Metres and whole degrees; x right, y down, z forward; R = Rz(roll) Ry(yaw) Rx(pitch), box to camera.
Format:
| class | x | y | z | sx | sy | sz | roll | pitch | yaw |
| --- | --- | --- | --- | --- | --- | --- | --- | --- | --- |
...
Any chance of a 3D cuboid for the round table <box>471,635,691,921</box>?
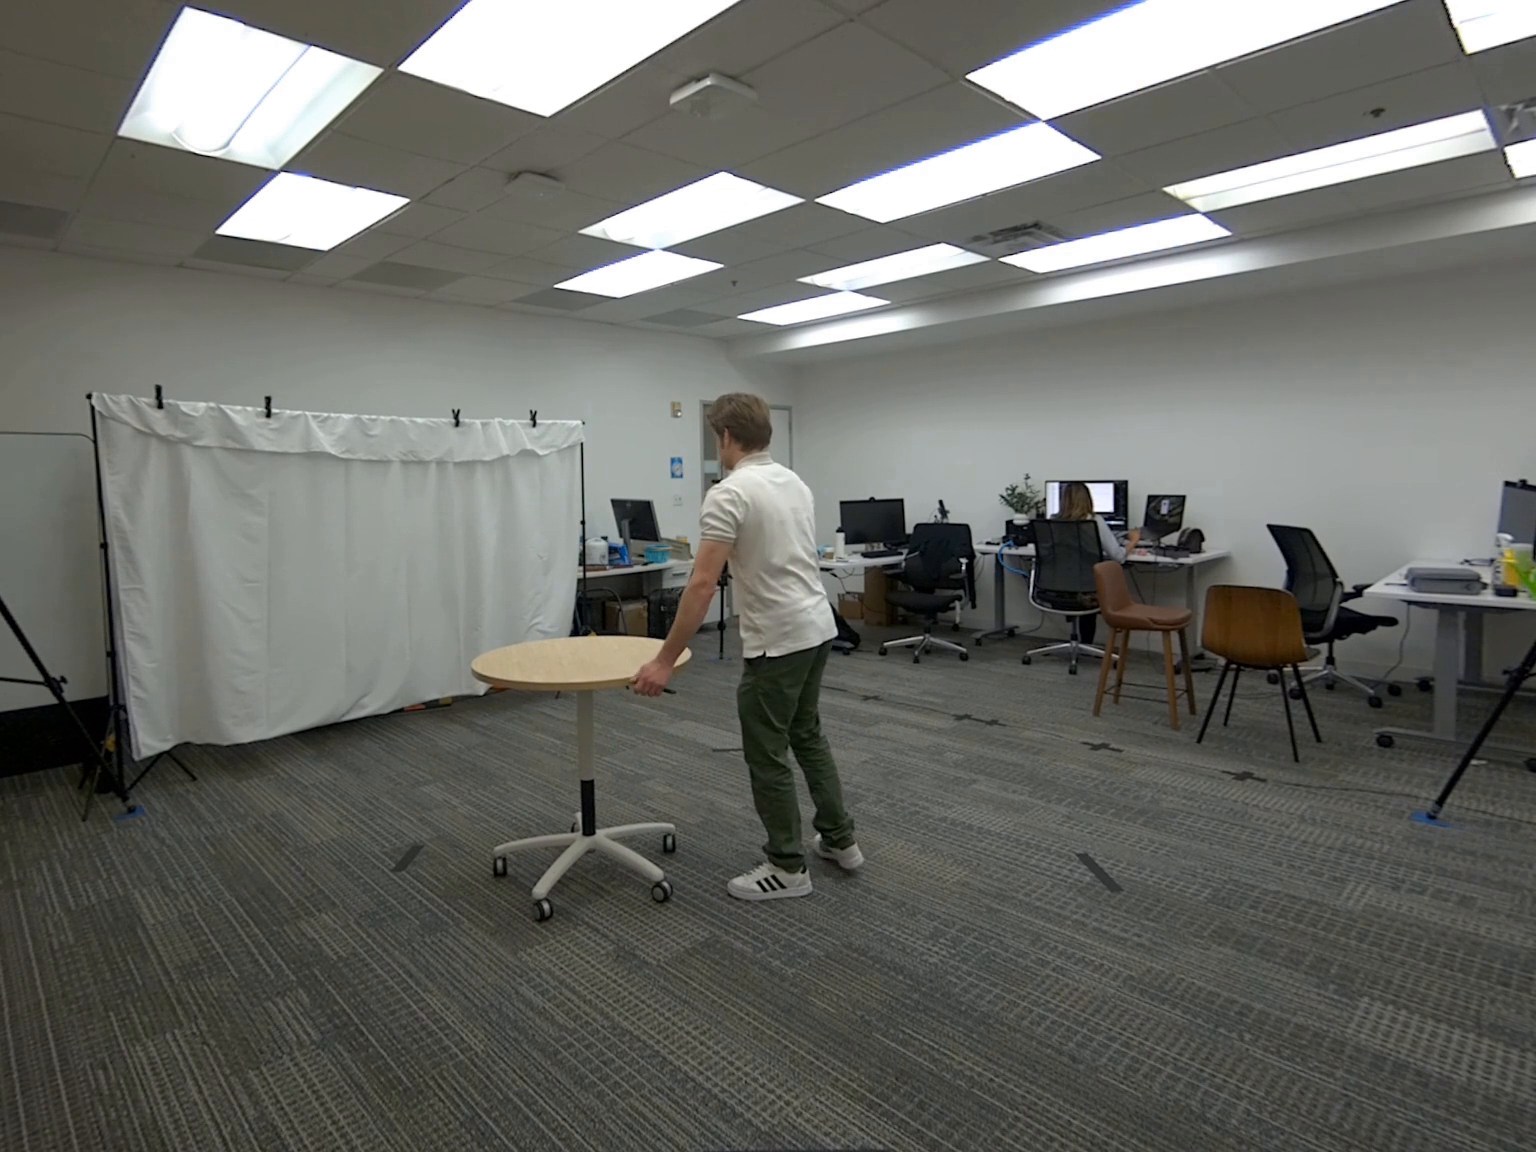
| class | x | y | z | sx | sy | sz | roll | pitch | yaw |
| --- | --- | --- | --- | --- | --- | --- | --- | --- | --- |
| round table | -0.637 | 0.675 | 3.050 | 0.763 | 0.791 | 0.768 | -2 | 5 | -2 |
